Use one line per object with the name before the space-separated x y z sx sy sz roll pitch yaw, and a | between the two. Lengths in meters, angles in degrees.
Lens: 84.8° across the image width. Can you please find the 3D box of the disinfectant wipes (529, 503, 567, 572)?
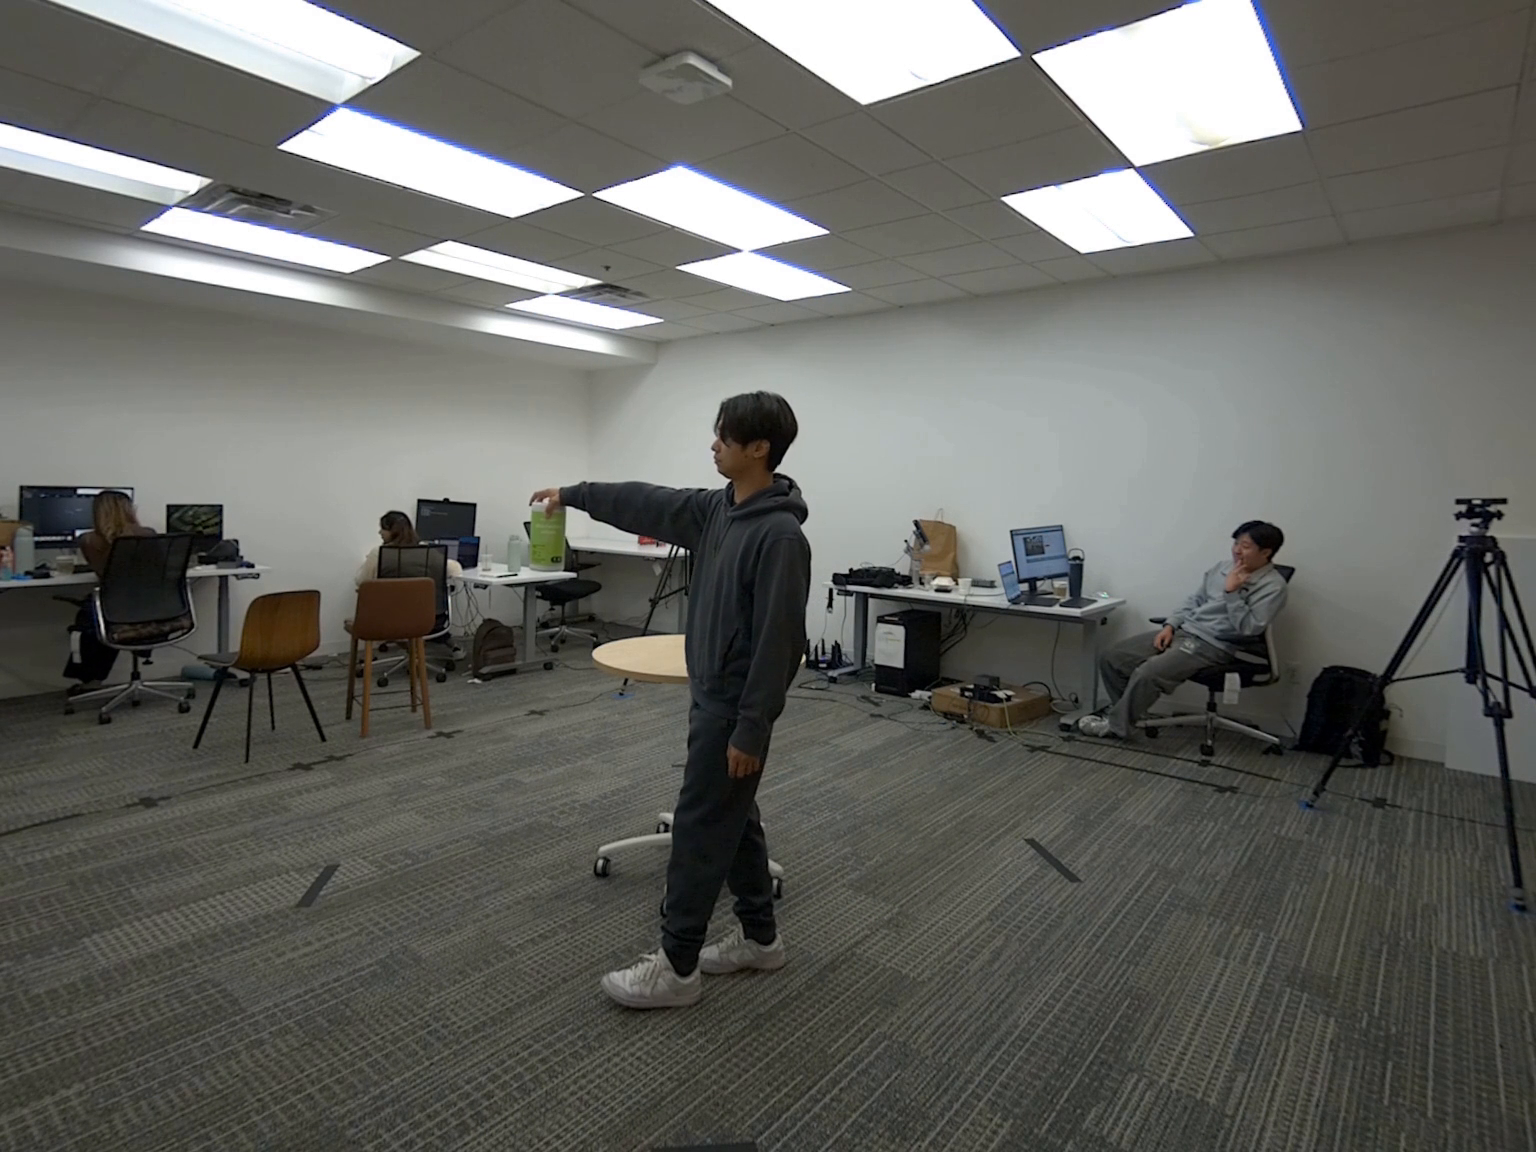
disinfectant wipes | -0.711 -0.128 2.696 0.117 0.217 0.118 2 3 -2
